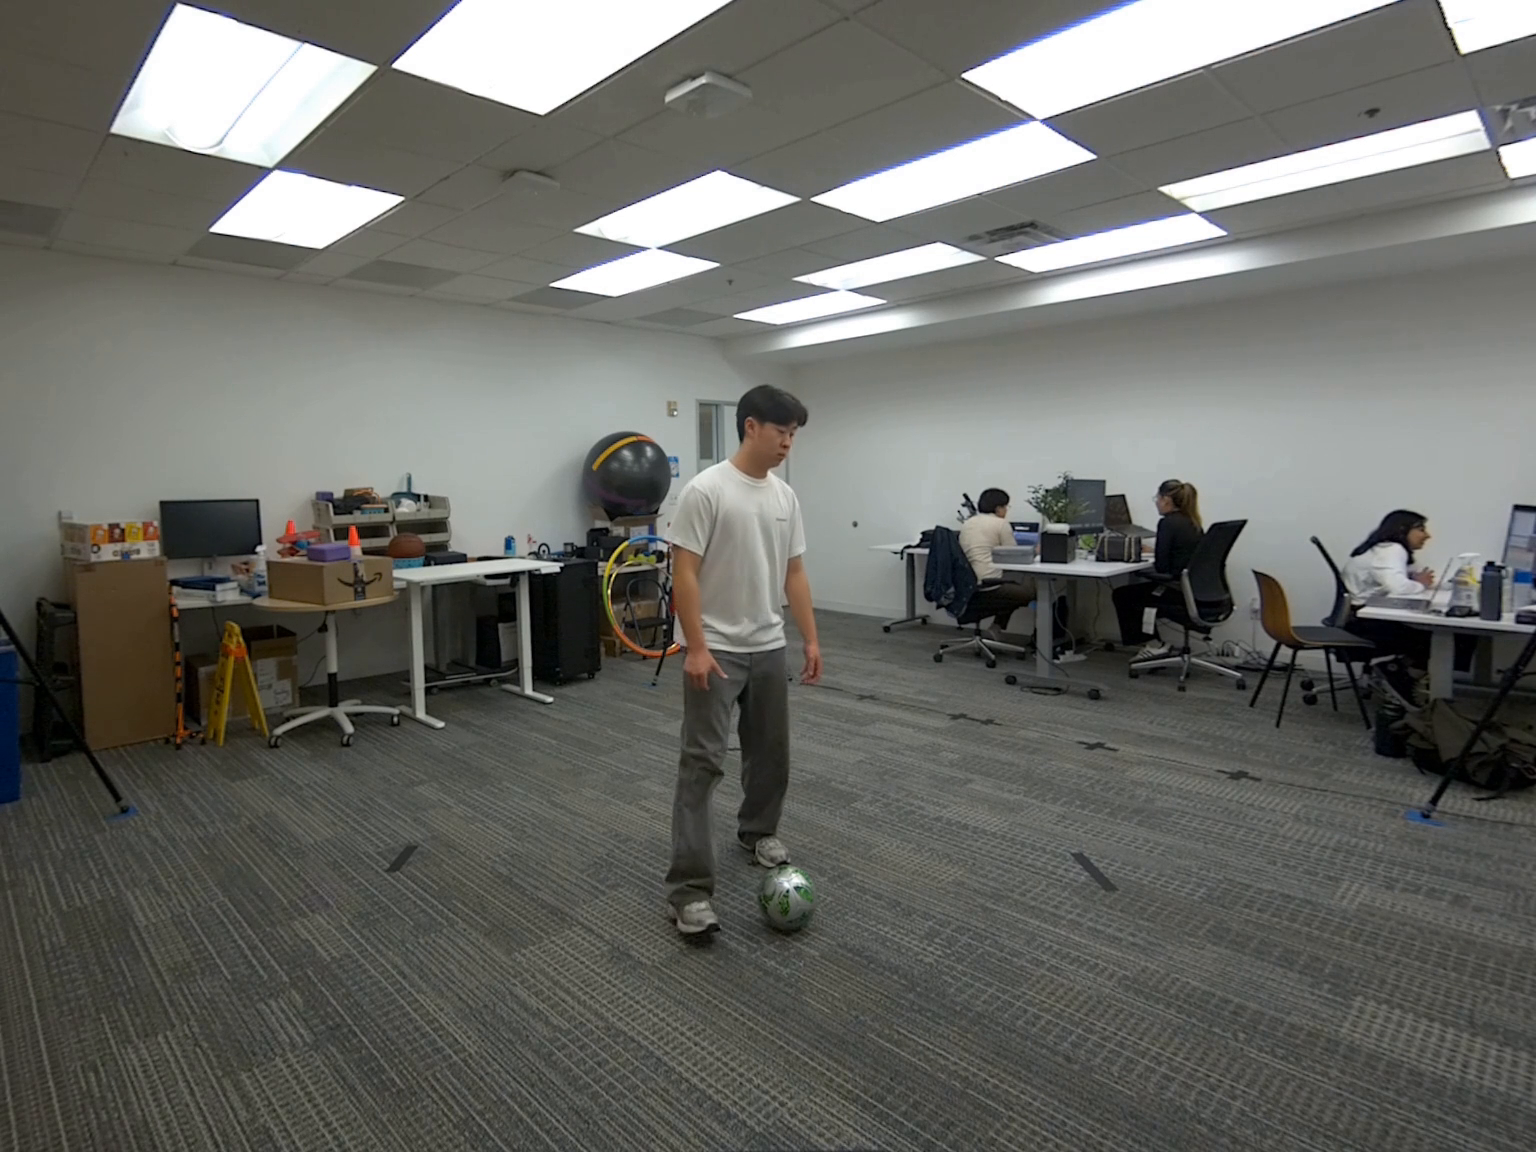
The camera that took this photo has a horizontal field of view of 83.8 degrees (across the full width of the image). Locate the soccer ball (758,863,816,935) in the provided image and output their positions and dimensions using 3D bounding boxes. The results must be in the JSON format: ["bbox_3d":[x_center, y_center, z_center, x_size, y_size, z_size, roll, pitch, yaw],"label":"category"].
[{"bbox_3d":[0.053,0.999,2.662,0.187,0.187,0.188,-1,5,-2],"label":"soccer ball"}]
